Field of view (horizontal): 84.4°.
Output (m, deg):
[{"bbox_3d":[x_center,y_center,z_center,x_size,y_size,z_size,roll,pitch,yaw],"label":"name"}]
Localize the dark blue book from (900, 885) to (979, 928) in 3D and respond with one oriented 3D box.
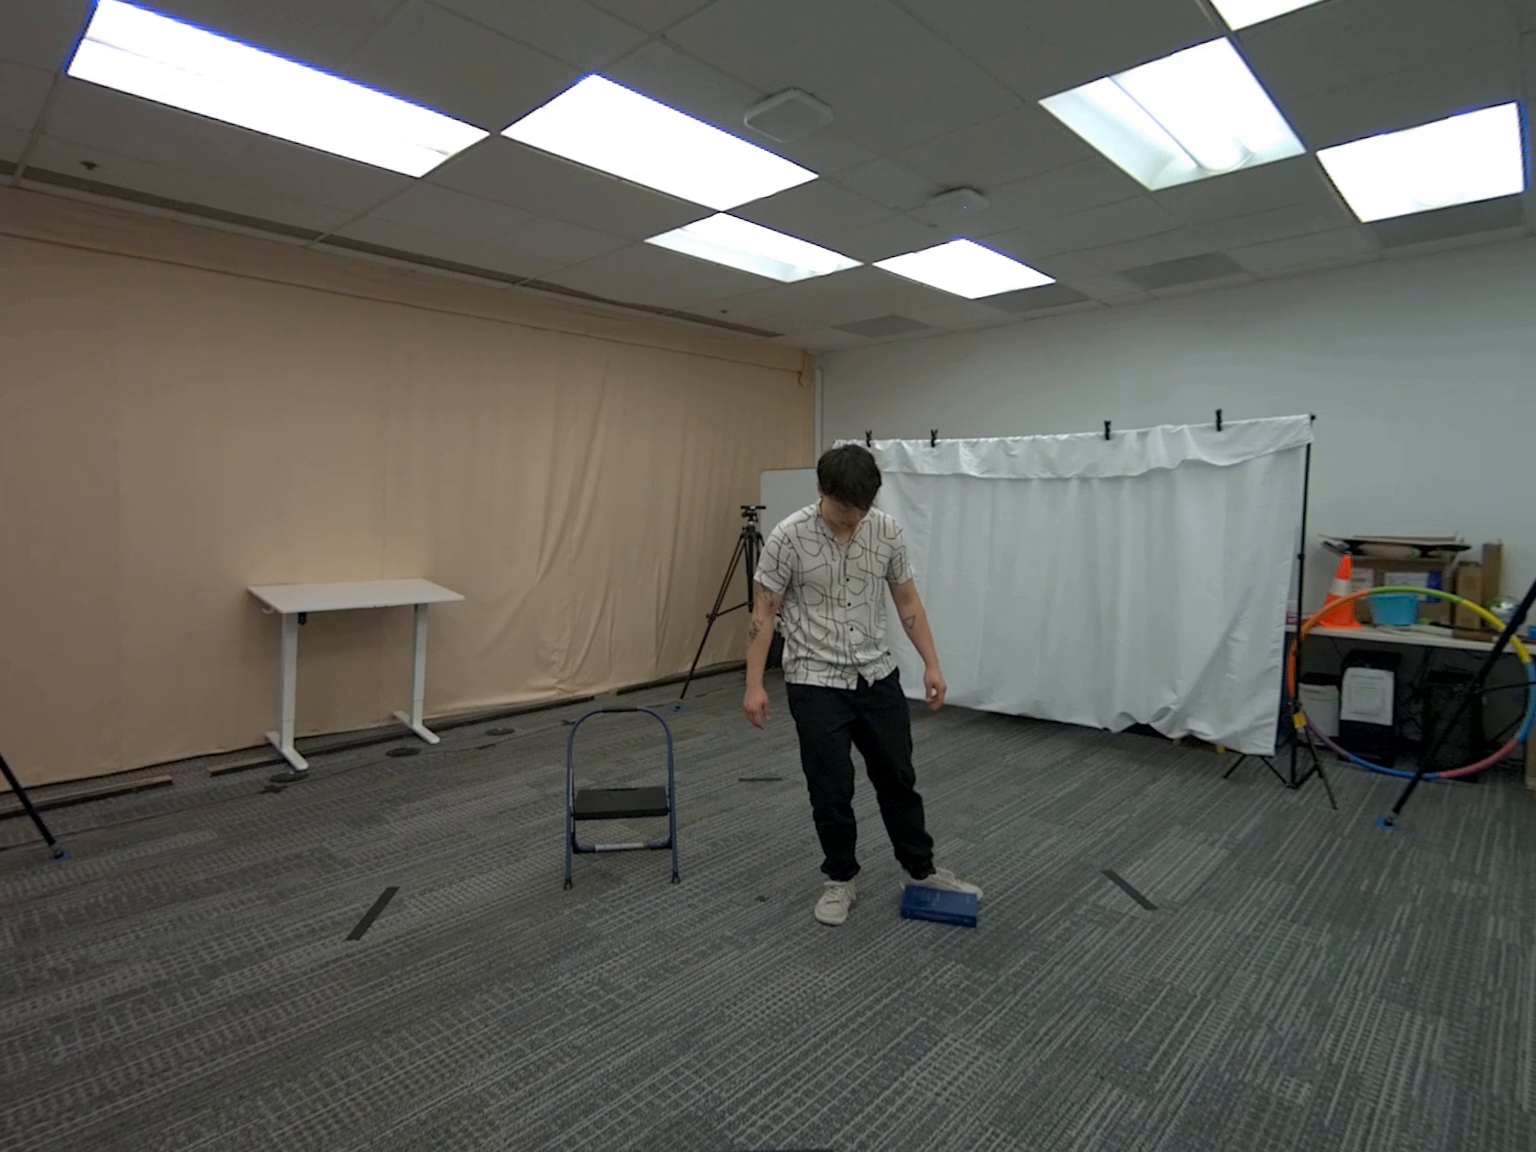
[{"bbox_3d":[0.583,1.122,2.879,0.250,0.045,0.161,1,5,17],"label":"dark blue book"}]
